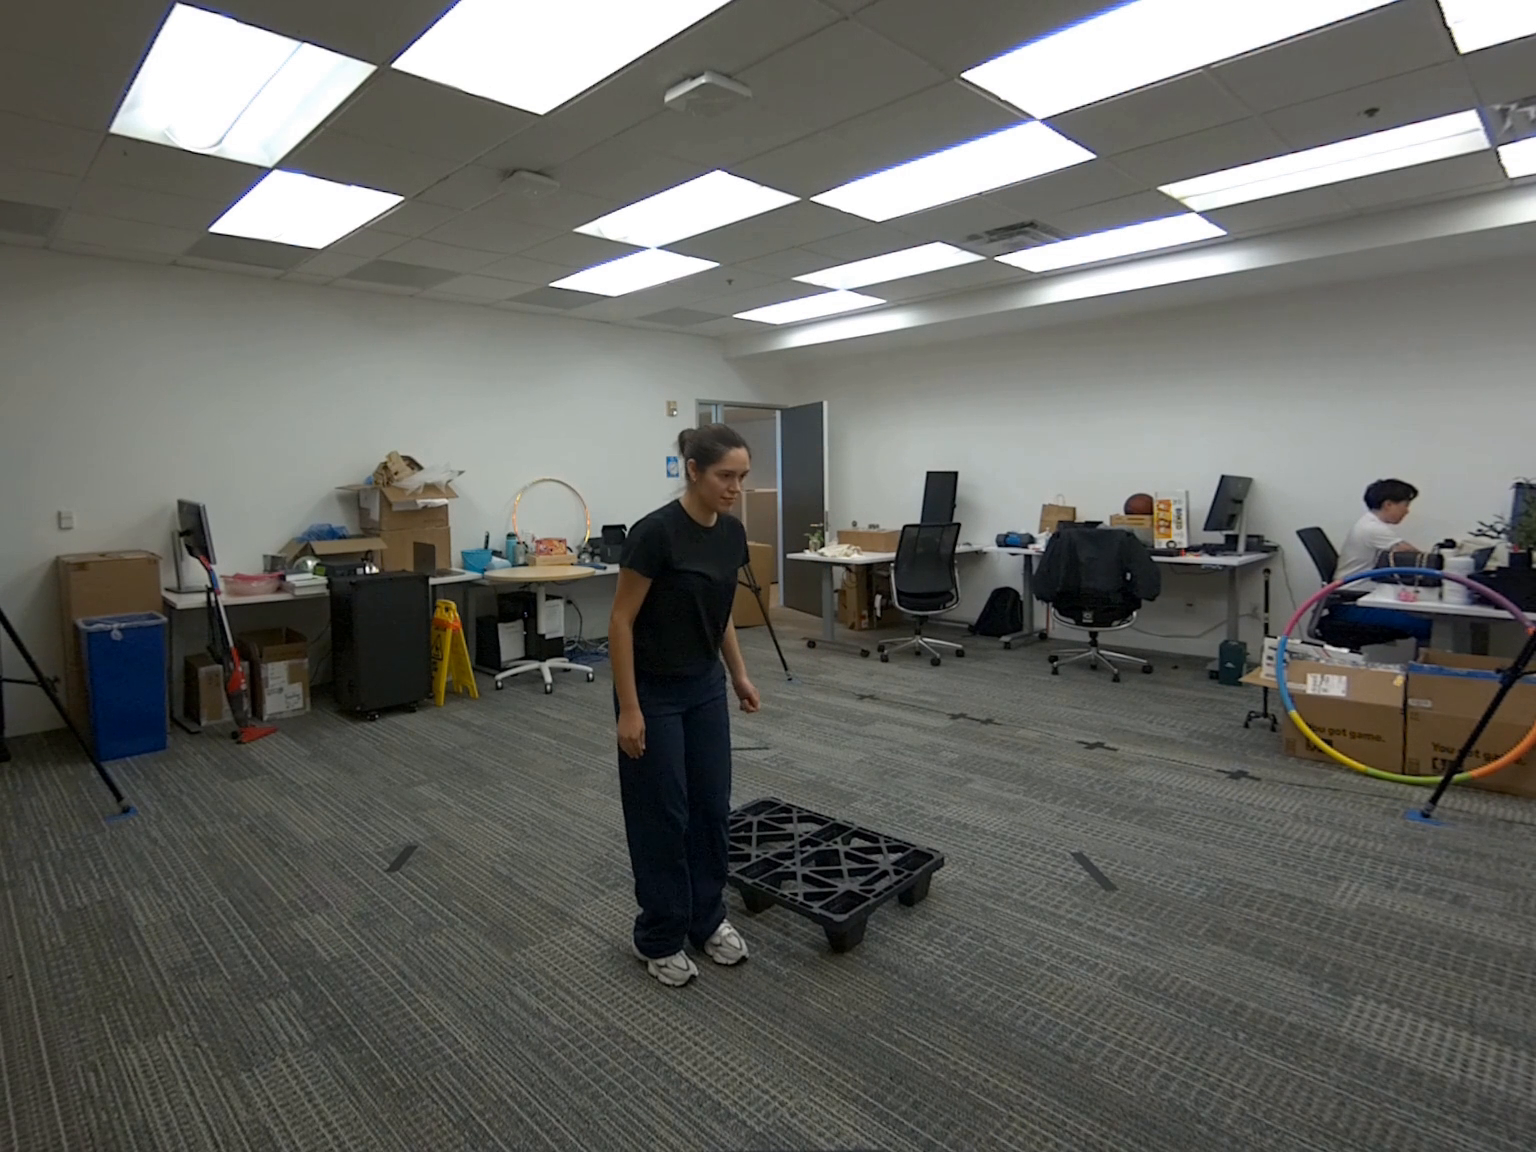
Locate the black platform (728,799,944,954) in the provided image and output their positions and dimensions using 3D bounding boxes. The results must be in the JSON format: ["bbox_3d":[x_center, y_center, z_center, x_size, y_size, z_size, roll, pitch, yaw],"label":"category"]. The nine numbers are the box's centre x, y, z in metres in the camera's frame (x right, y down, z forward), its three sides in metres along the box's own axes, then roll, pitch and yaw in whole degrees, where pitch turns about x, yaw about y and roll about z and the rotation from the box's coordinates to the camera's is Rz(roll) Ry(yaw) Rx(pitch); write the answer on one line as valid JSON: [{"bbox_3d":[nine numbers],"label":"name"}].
[{"bbox_3d":[0.103,0.997,2.930,0.830,0.142,0.590,5,9,42],"label":"black platform"}]
